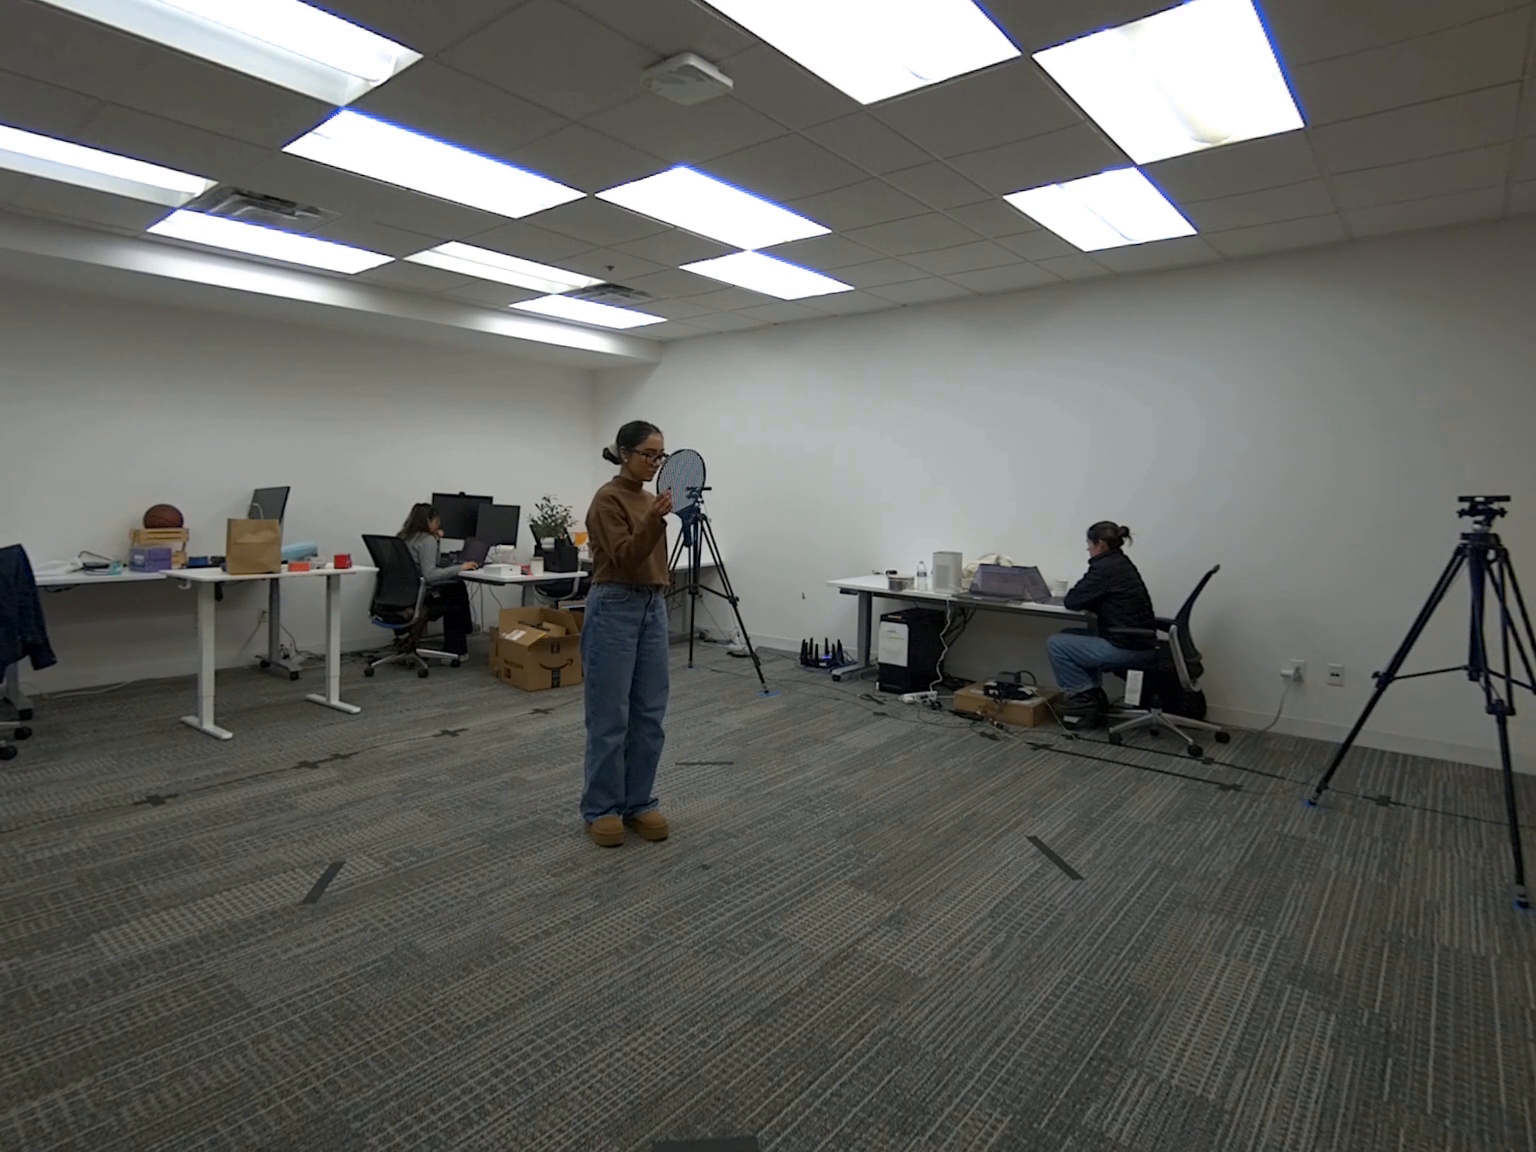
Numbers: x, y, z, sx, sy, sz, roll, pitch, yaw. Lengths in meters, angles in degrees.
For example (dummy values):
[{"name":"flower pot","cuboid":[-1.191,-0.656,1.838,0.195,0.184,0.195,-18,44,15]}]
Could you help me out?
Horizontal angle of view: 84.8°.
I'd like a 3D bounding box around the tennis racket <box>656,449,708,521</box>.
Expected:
[{"name":"tennis racket","cuboid":[-0.323,-0.271,3.118,0.211,0.420,0.033,-26,44,-28]}]
